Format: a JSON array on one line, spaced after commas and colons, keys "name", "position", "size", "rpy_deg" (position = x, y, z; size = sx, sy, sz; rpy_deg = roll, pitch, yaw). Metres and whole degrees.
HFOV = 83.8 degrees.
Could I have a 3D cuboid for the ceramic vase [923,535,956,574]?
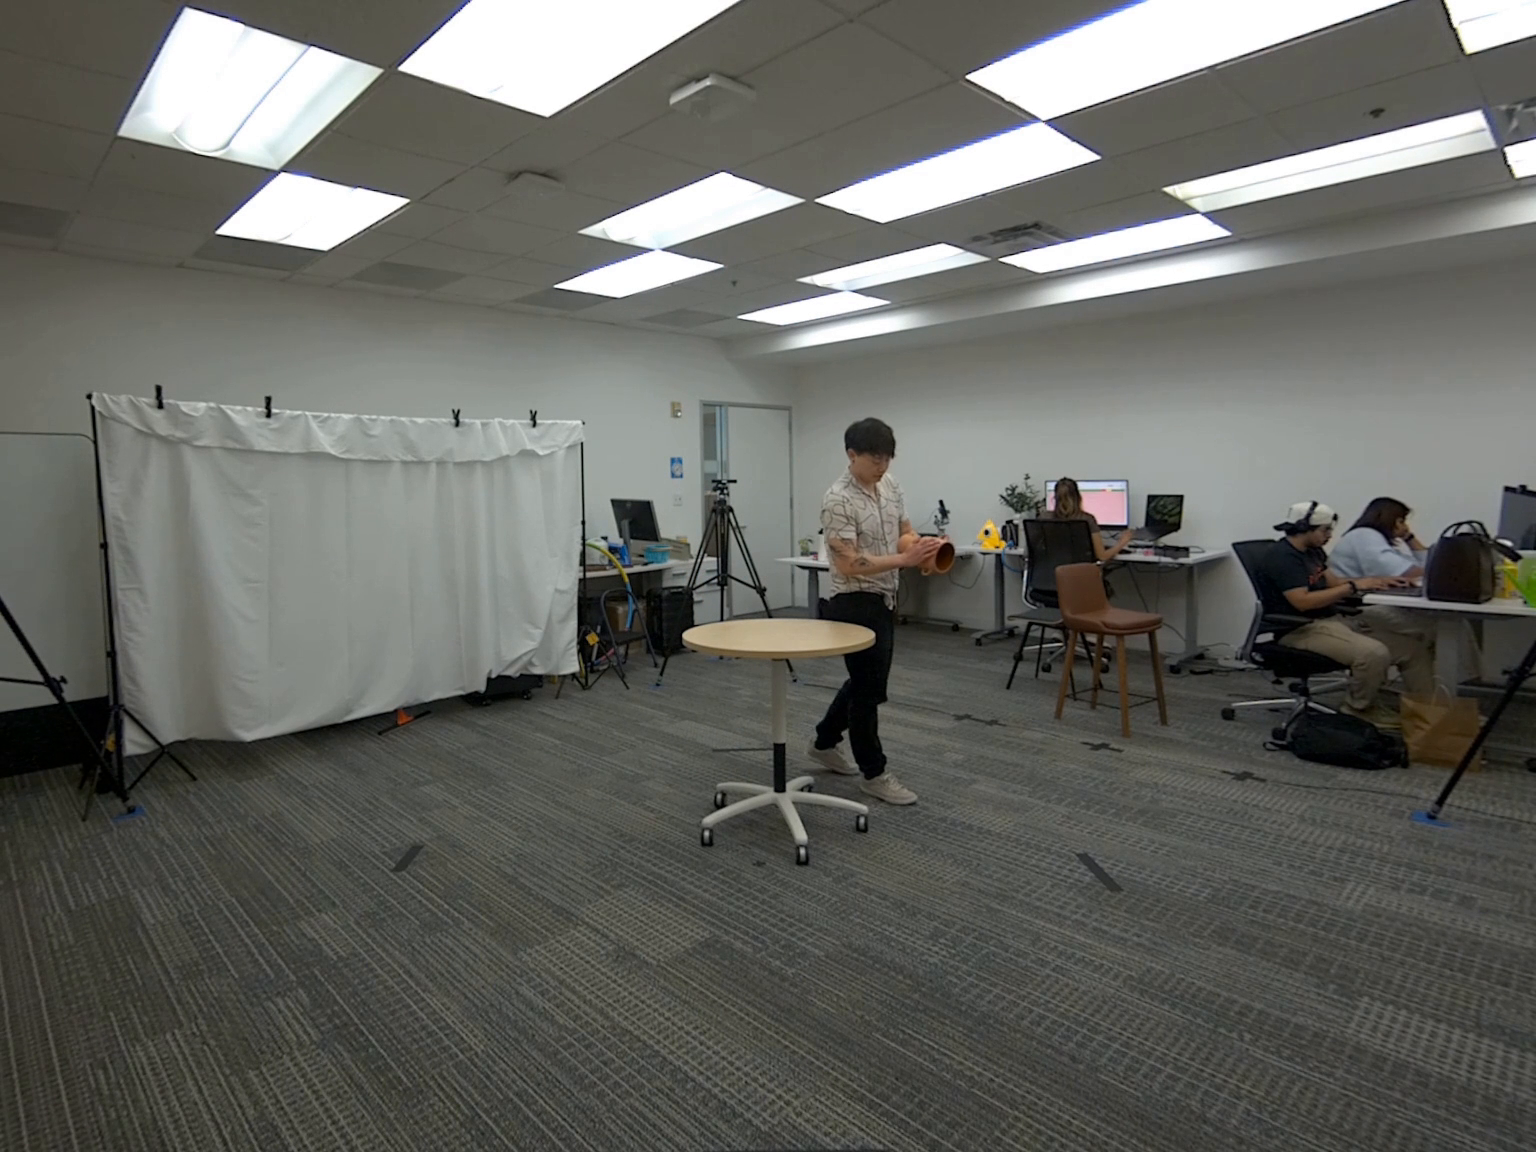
[{"name": "ceramic vase", "position": [0.642, -0.100, 3.554], "size": [0.157, 0.131, 0.228], "rpy_deg": [-26, 28, -31]}]
